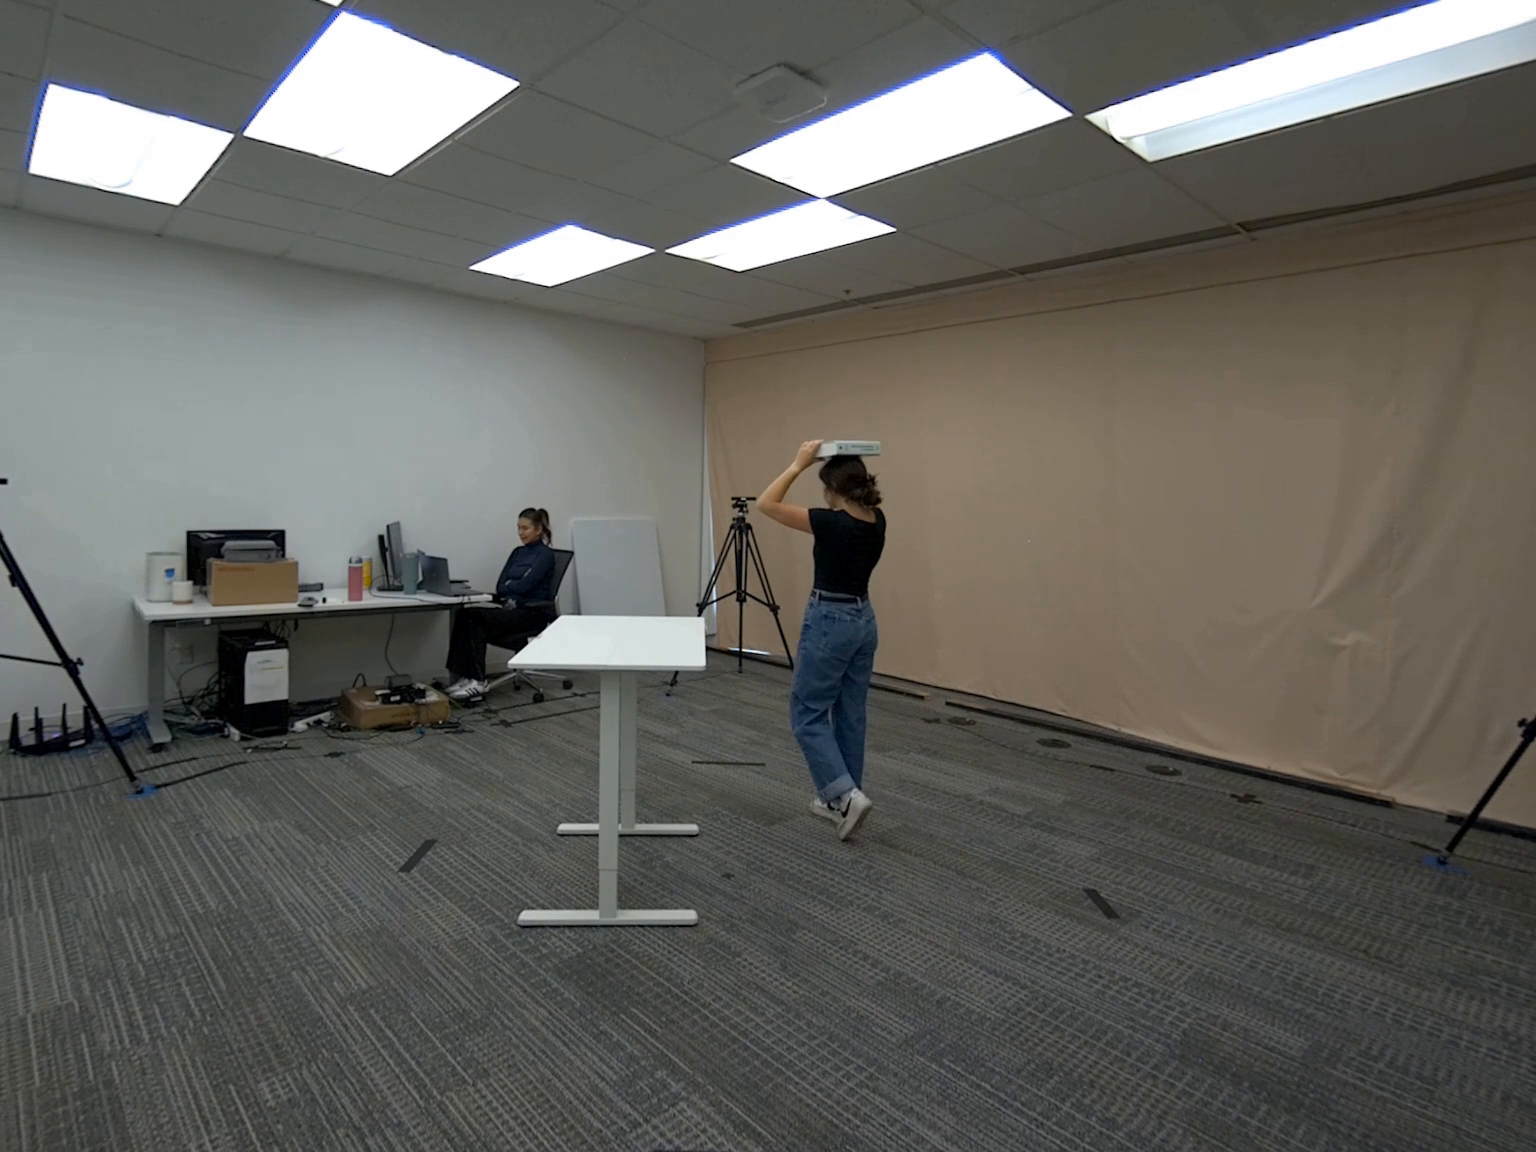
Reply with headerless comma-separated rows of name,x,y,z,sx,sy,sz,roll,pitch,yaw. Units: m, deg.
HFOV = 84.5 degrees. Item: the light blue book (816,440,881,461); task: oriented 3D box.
light blue book,0.315,-0.536,3.555,0.255,0.059,0.196,-6,6,-39
